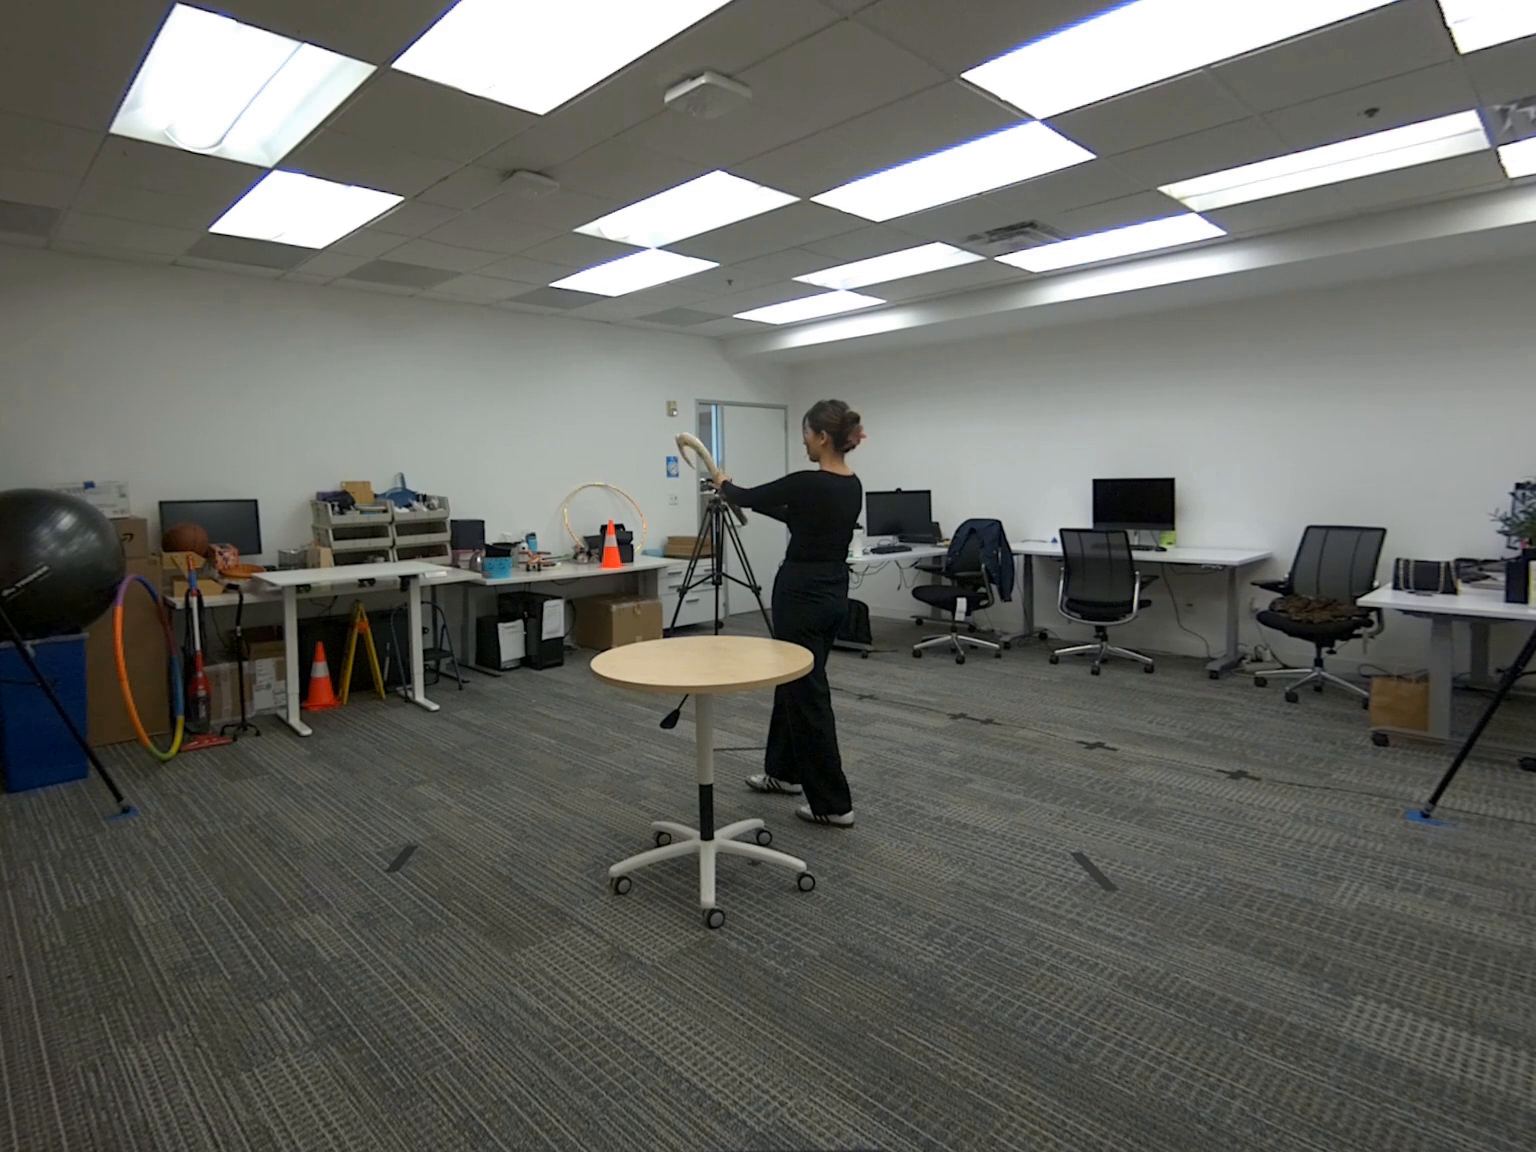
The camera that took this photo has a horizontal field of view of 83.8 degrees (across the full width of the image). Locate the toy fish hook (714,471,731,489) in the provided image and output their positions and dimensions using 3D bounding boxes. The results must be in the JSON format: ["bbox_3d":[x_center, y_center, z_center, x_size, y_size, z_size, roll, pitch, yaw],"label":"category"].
[{"bbox_3d":[-0.252,-0.432,3.842,0.048,0.494,0.231,-40,21,-19],"label":"toy fish hook"}]
